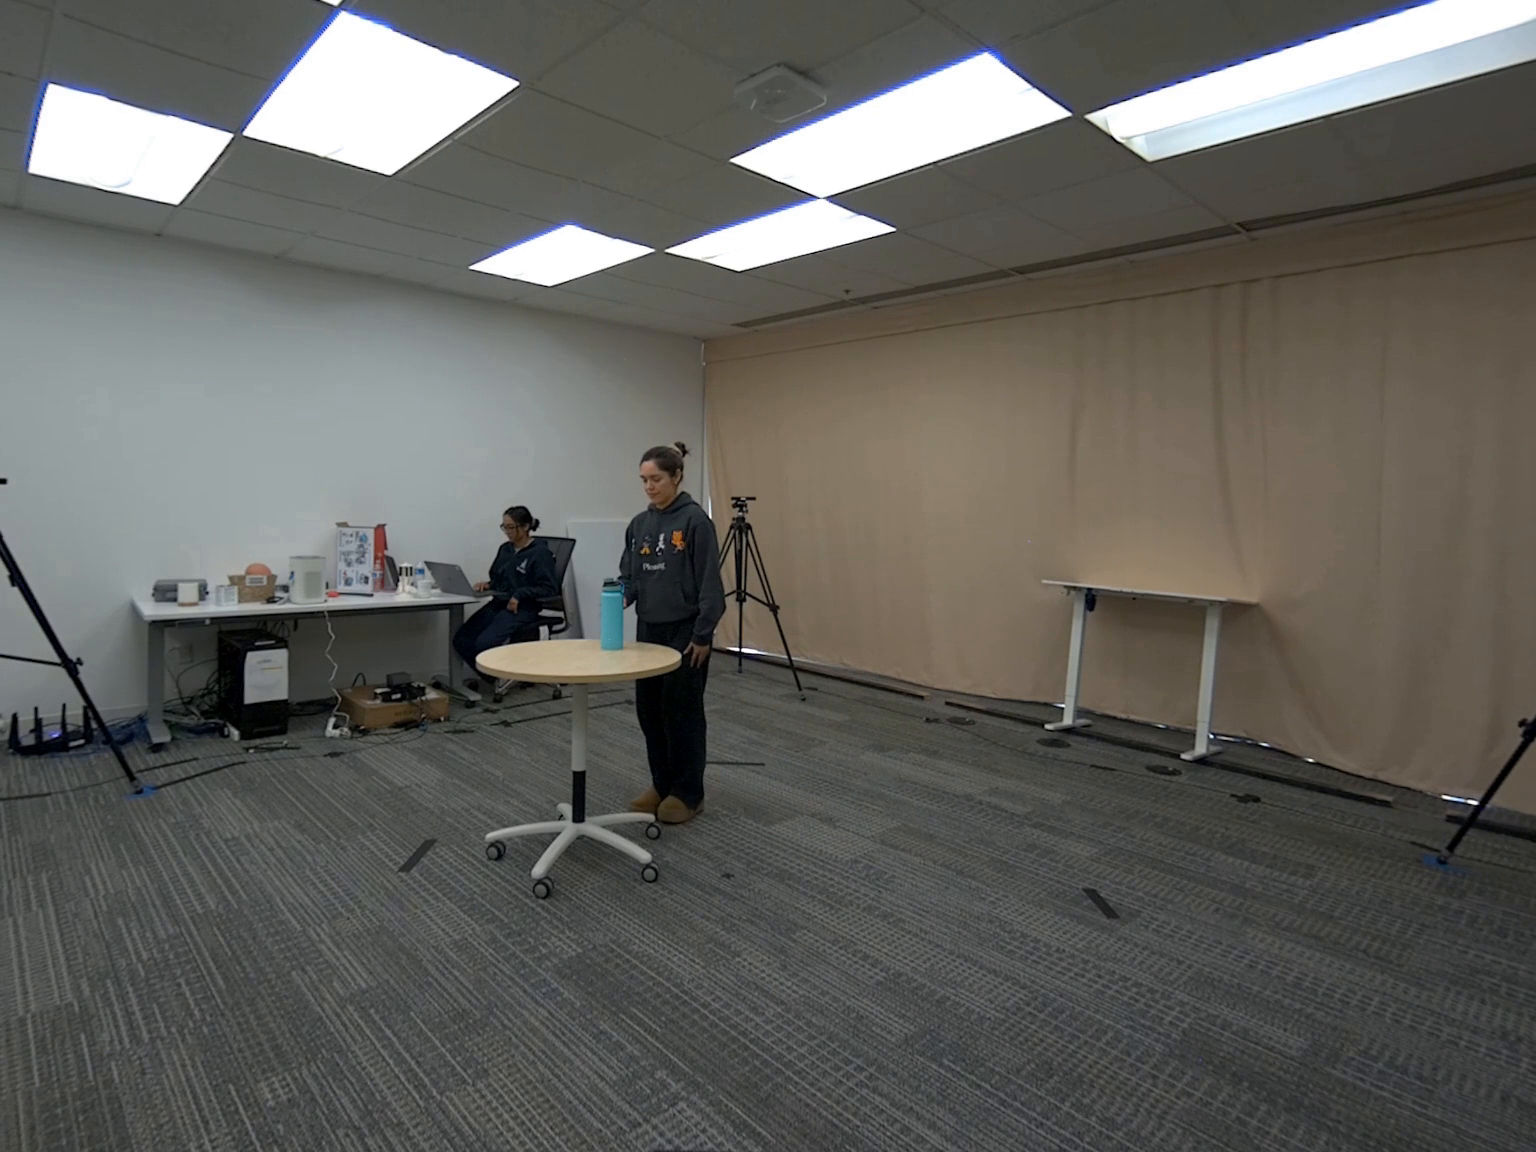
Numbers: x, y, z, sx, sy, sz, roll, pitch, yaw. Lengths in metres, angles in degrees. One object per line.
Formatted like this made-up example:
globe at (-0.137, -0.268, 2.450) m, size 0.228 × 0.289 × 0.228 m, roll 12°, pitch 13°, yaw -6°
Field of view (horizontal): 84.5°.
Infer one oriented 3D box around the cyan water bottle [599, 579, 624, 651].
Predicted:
cyan water bottle at (-0.632, 0.151, 3.368) m, size 0.092 × 0.283 × 0.092 m, roll 2°, pitch 0°, yaw -1°
